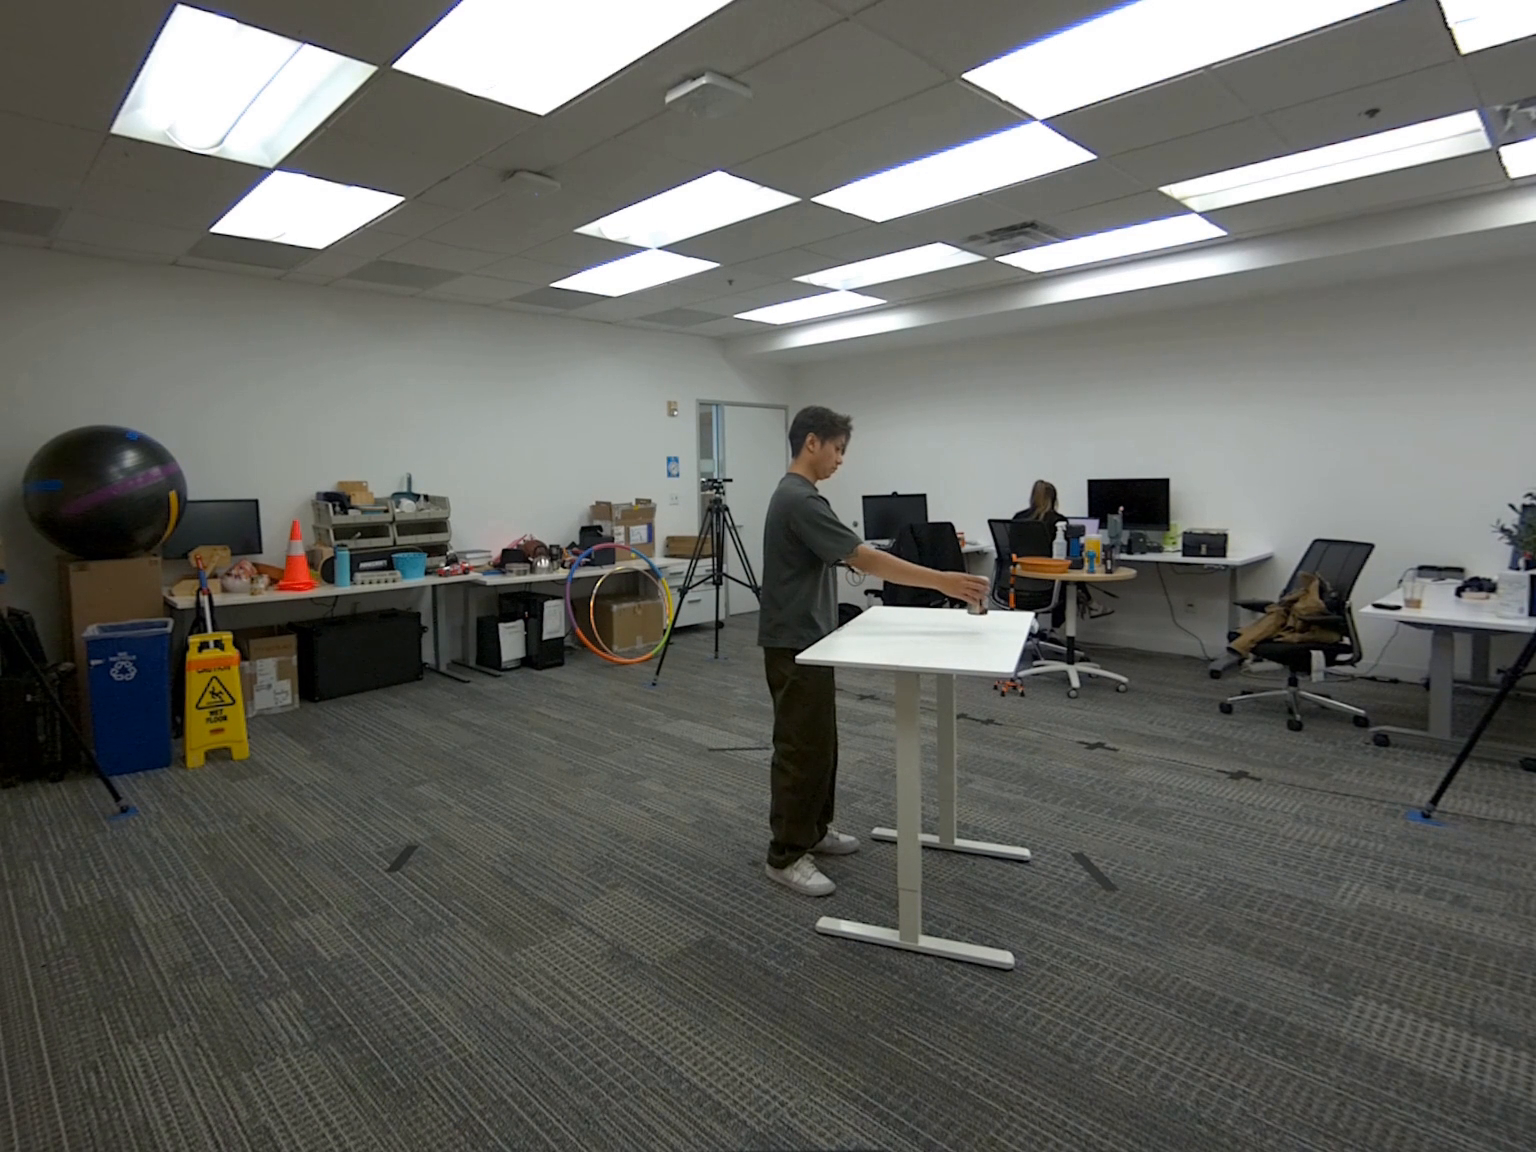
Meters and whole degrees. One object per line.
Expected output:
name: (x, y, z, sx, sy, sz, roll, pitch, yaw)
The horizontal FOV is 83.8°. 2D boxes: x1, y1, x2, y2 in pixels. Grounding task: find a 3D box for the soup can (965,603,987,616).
soup can: (0.690, 0.060, 2.764, 0.067, 0.121, 0.067, 0, 5, -2)
